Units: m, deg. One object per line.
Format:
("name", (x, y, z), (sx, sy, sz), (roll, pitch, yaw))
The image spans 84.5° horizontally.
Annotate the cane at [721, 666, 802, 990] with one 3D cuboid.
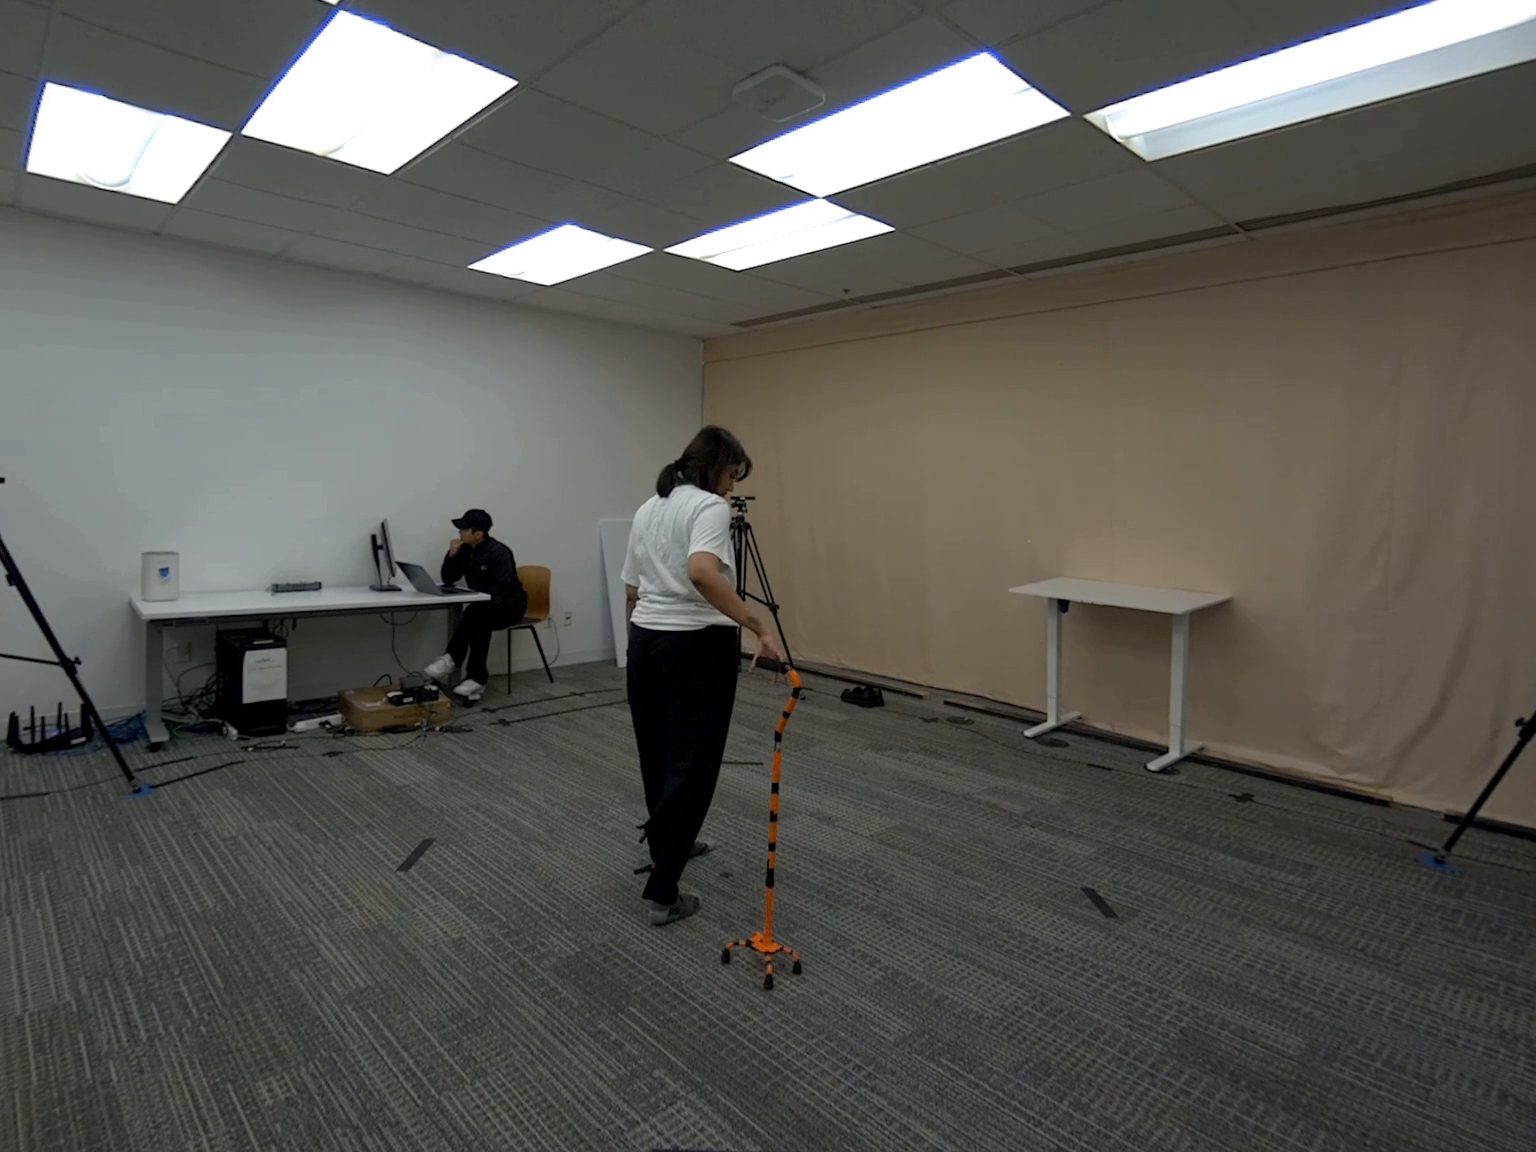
("cane", (0.000, 0.712, 2.478), (0.212, 0.906, 0.148), (6, 3, 43))
